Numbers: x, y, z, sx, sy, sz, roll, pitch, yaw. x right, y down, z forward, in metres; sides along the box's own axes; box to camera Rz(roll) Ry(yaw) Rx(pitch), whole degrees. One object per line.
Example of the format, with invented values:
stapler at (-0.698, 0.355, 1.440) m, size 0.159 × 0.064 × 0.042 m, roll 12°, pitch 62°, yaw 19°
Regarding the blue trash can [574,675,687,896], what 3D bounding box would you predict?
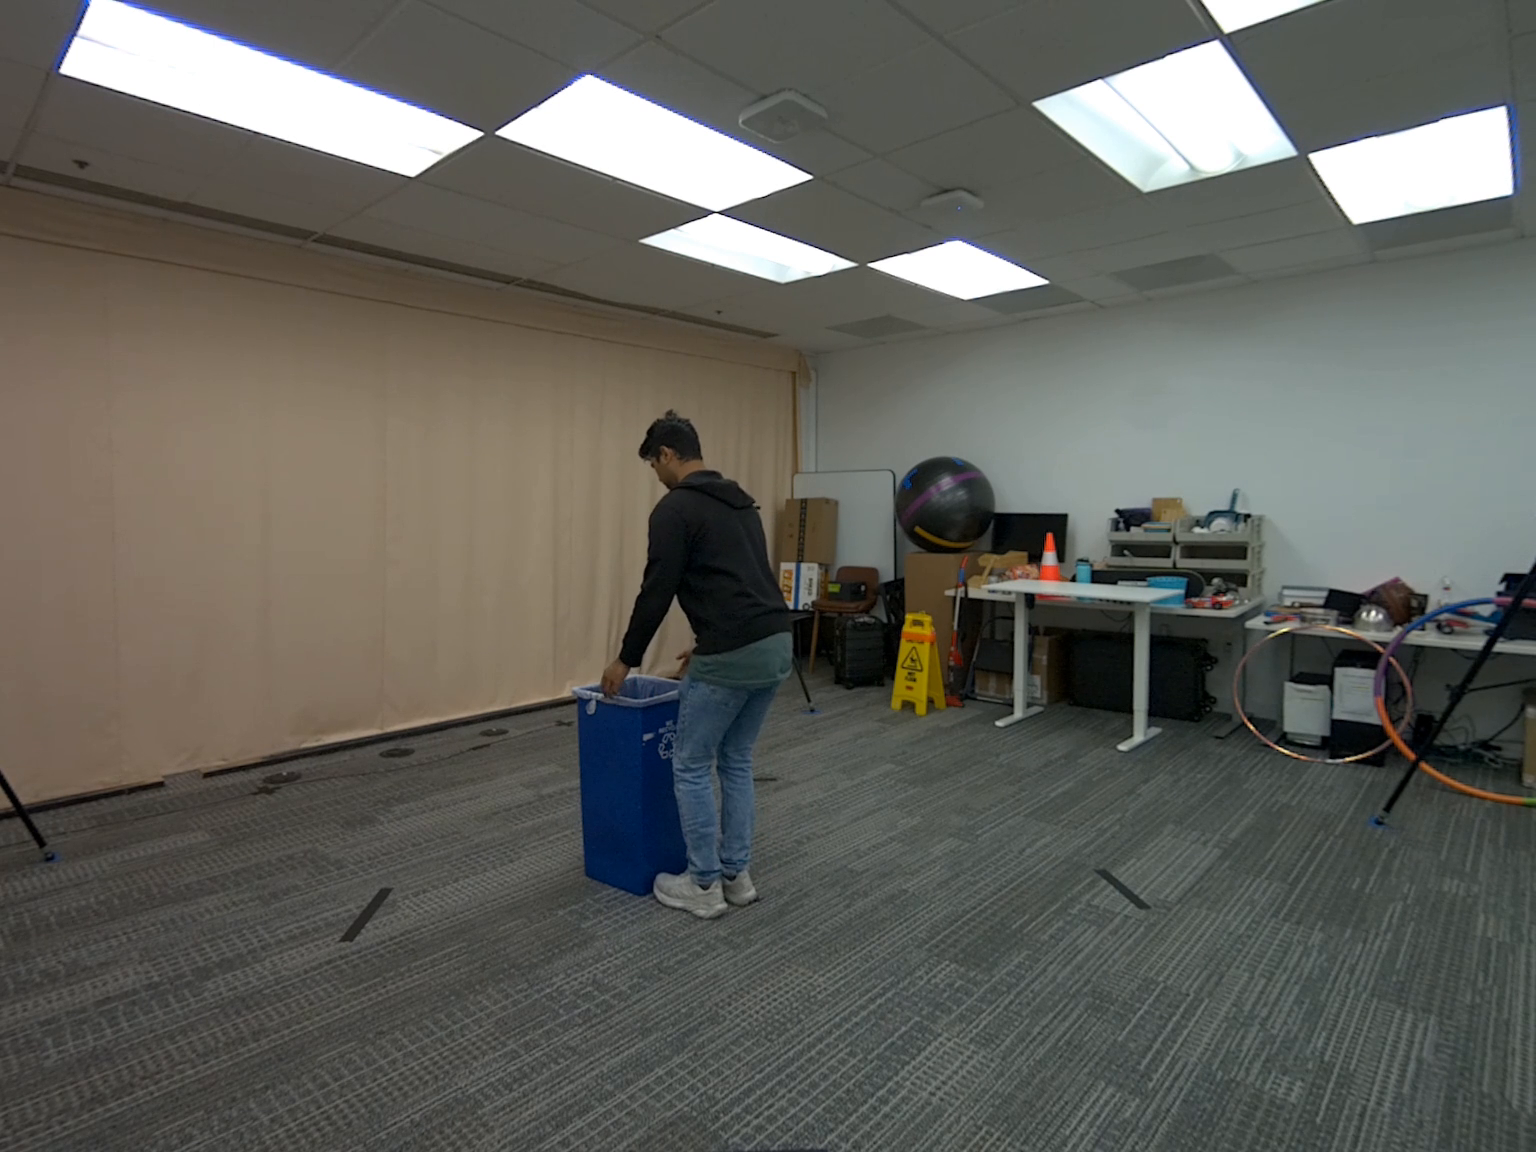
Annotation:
blue trash can at (-0.487, 0.774, 3.203) m, size 0.390 × 0.712 × 0.363 m, roll 2°, pitch 4°, yaw 36°
